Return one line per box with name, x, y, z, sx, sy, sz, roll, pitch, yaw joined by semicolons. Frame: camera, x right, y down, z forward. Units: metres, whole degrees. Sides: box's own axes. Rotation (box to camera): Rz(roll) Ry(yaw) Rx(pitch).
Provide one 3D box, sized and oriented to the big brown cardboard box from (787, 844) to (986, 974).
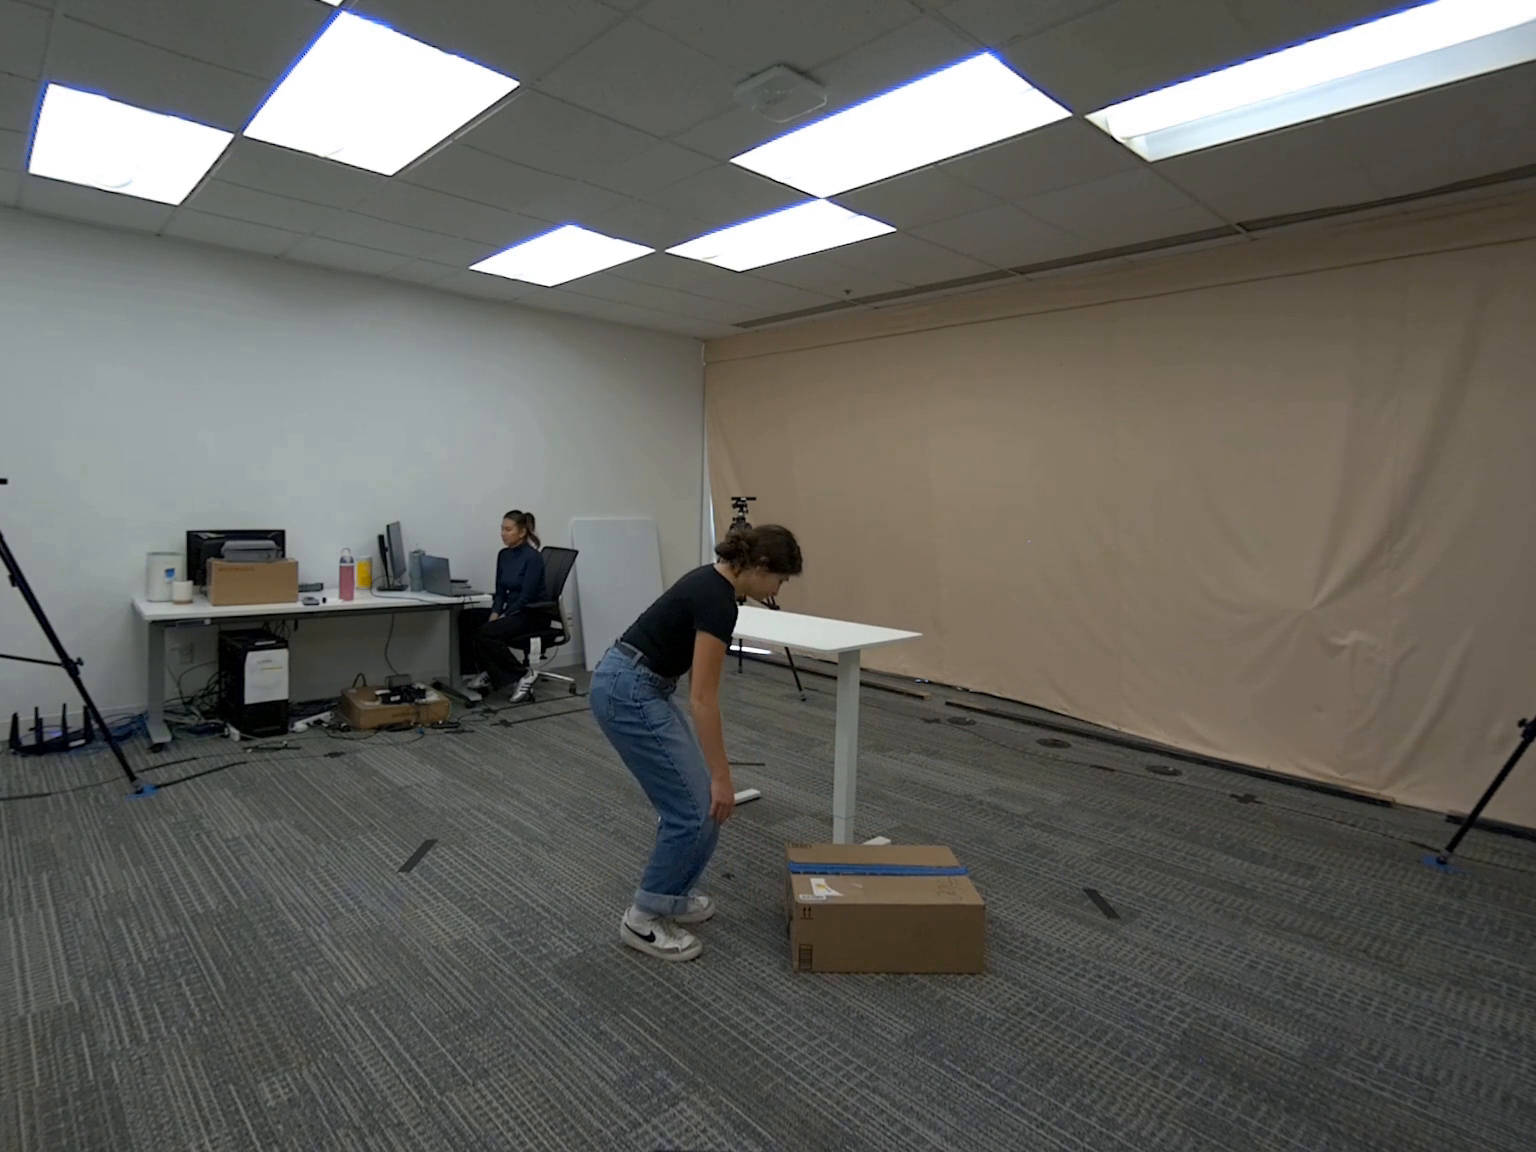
big brown cardboard box;0.339;1.046;2.683;0.588;0.232;0.420;2;5;-3
